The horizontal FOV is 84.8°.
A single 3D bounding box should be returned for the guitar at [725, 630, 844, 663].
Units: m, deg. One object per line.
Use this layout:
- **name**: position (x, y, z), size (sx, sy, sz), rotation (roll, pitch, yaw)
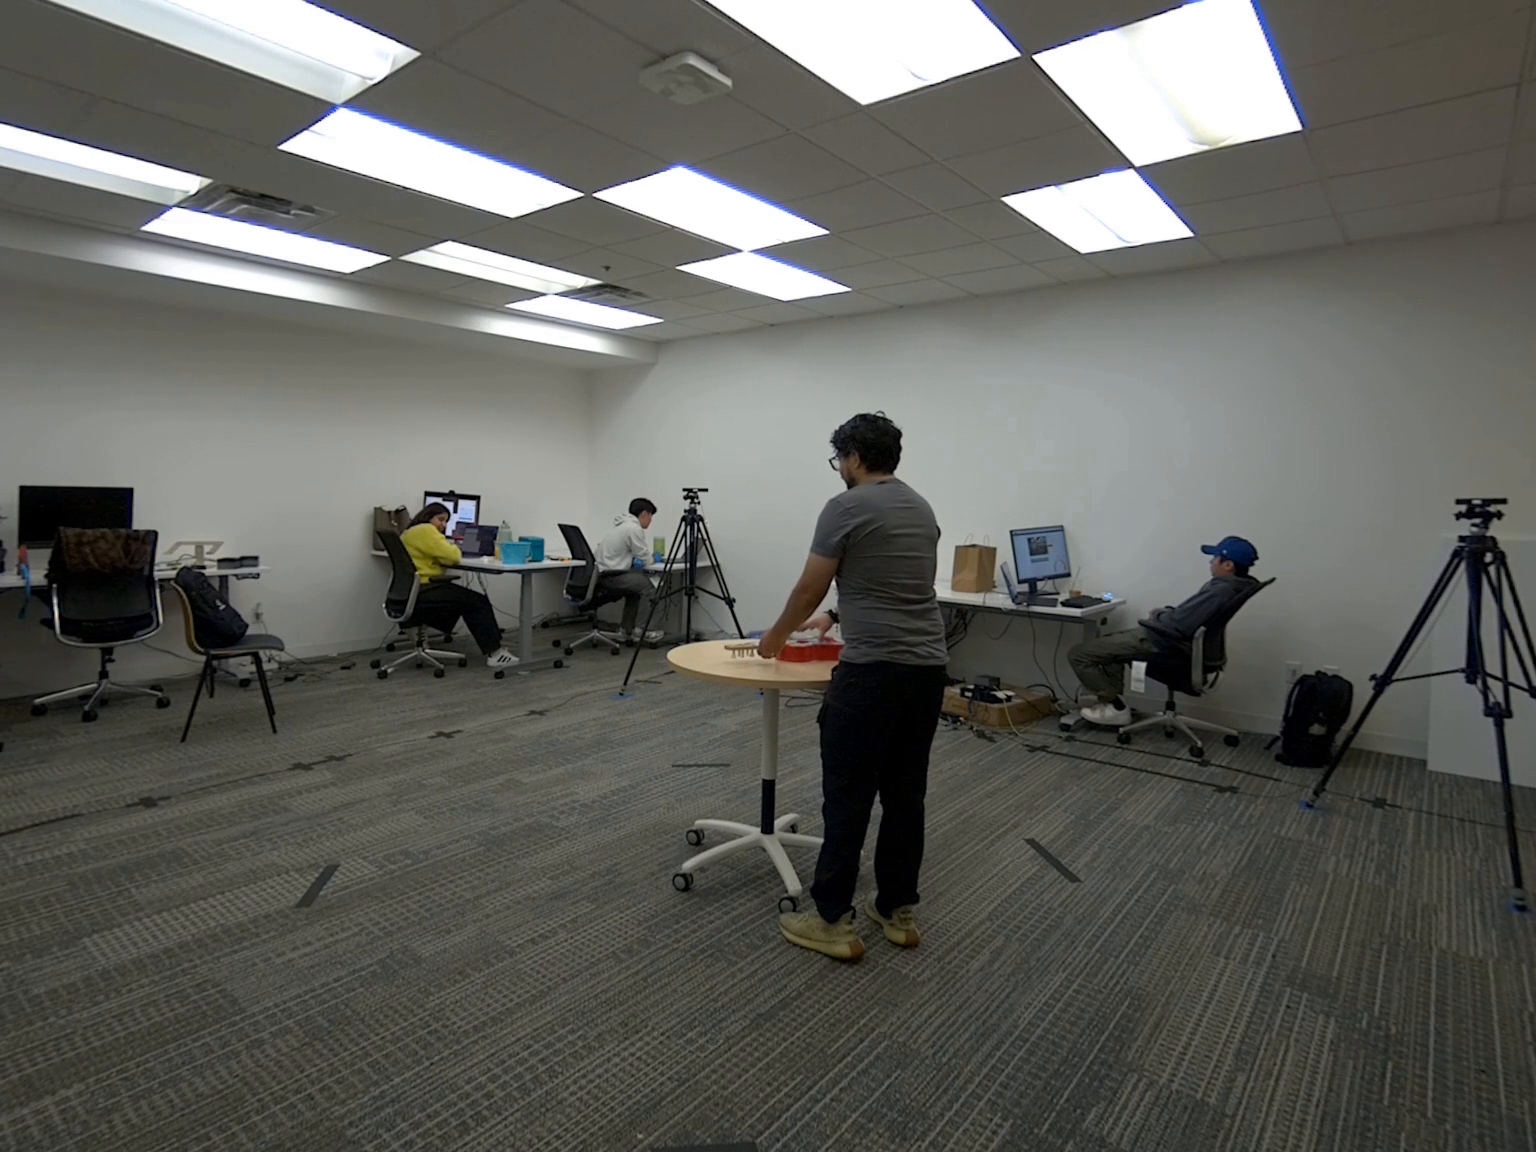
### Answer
- **guitar**: position (0.049, 0.260, 3.078), size (0.487, 0.070, 0.198), rotation (0, 8, -20)
